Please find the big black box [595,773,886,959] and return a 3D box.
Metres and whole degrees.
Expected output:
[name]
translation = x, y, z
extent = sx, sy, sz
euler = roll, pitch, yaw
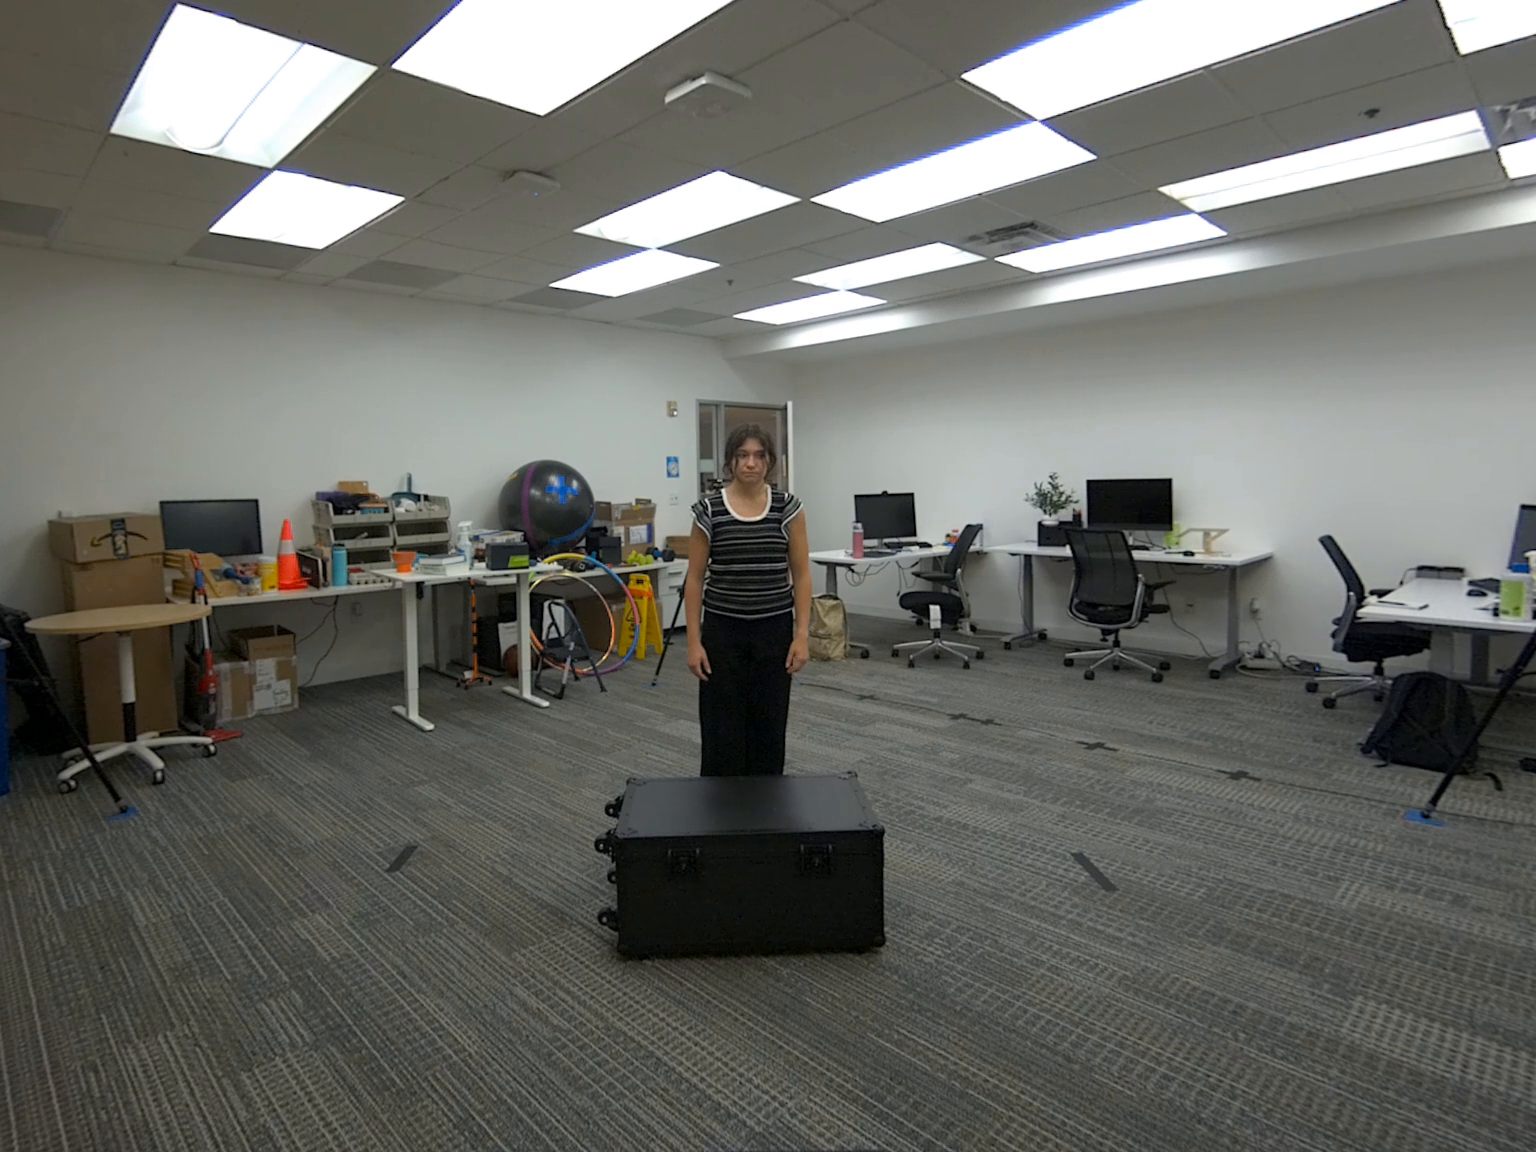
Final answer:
[big black box]
translation = -0.099, 0.899, 2.717
extent = 0.860, 0.395, 0.524
euler = -1, 5, -2
